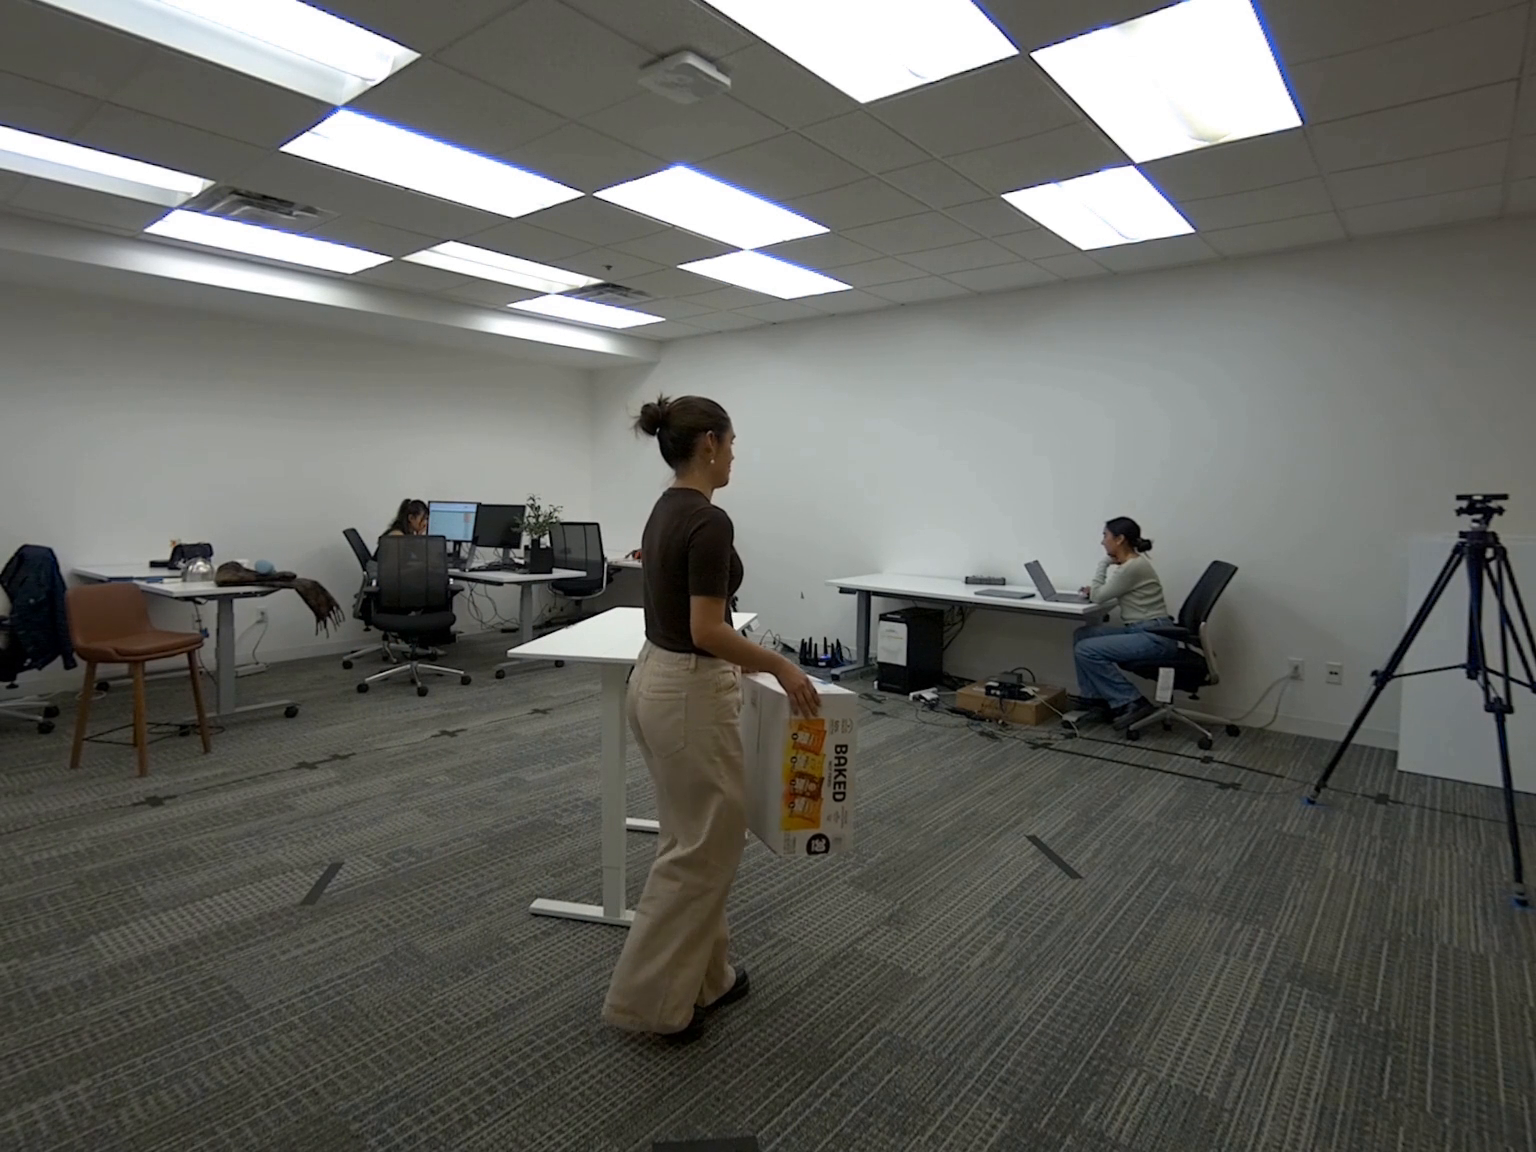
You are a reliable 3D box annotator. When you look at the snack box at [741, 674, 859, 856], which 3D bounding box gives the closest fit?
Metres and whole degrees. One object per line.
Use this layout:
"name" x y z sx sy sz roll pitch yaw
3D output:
"snack box" 0.060 0.492 2.283 0.201 0.405 0.348 2 1 -22
